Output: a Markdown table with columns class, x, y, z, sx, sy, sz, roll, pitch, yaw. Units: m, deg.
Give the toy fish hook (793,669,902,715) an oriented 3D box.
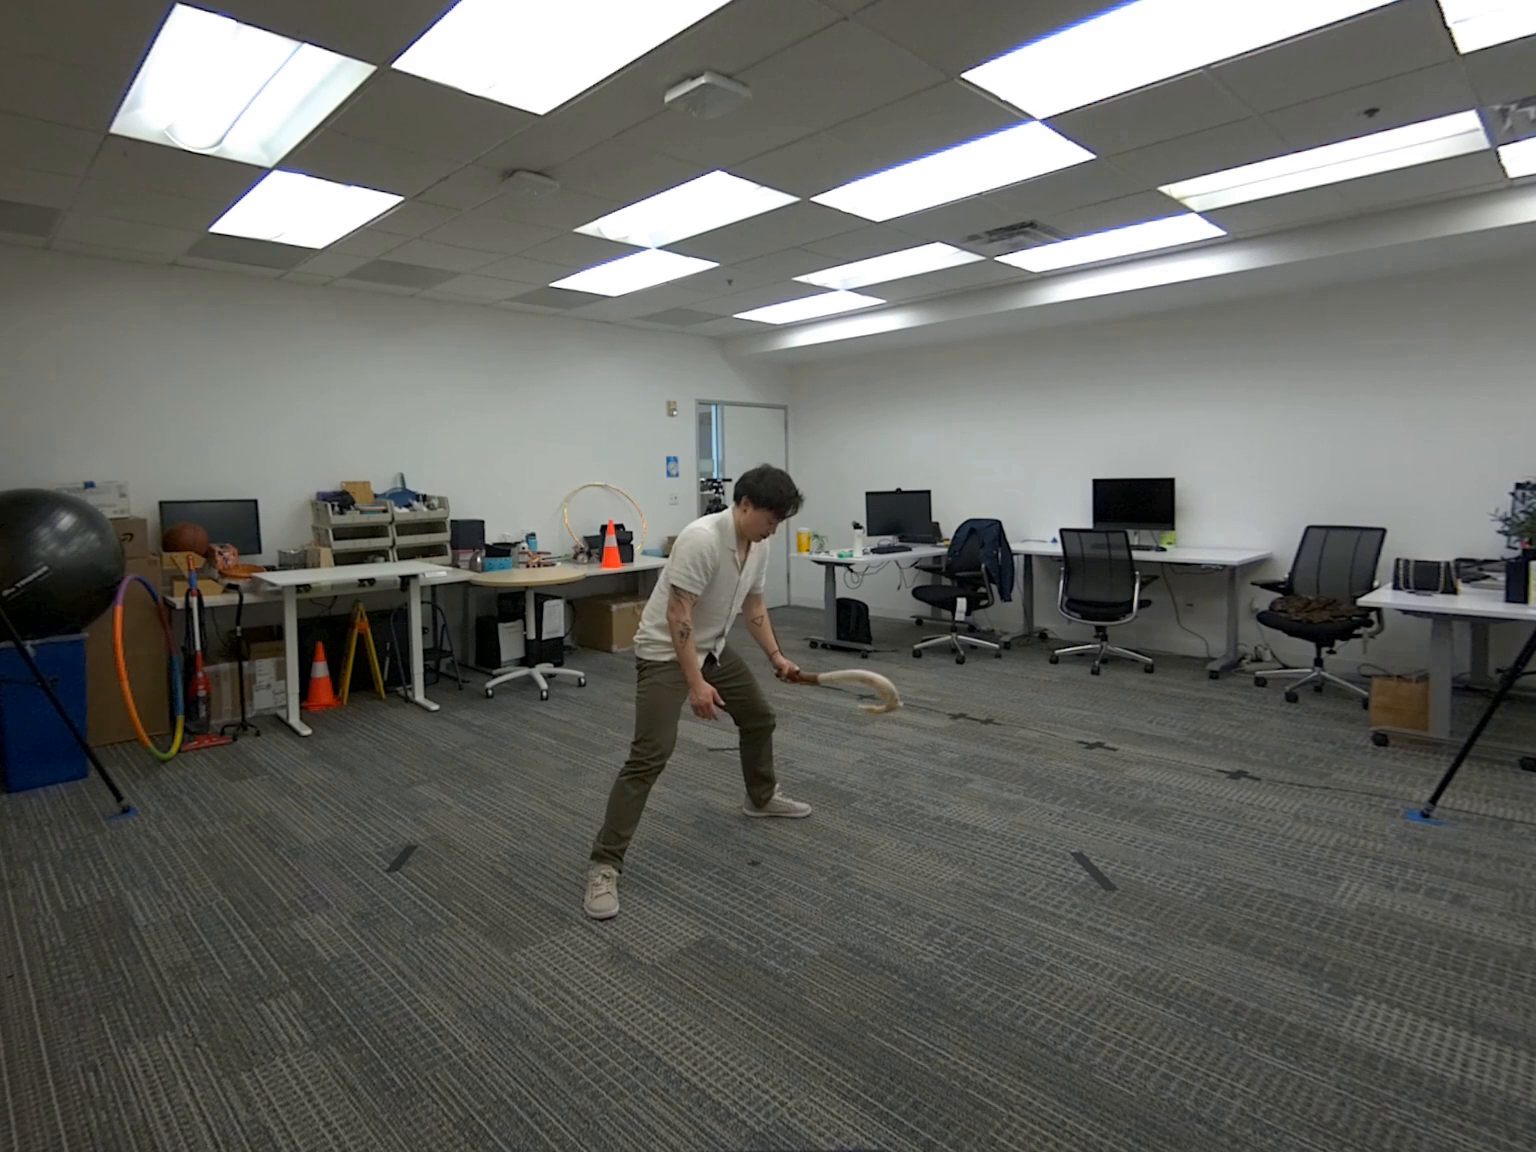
| class | x | y | z | sx | sy | sz | roll | pitch | yaw |
| --- | --- | --- | --- | --- | --- | --- | --- | --- | --- |
| toy fish hook | 0.247 | 0.433 | 3.134 | 0.521 | 0.218 | 0.048 | 1 | 36 | 39 |
